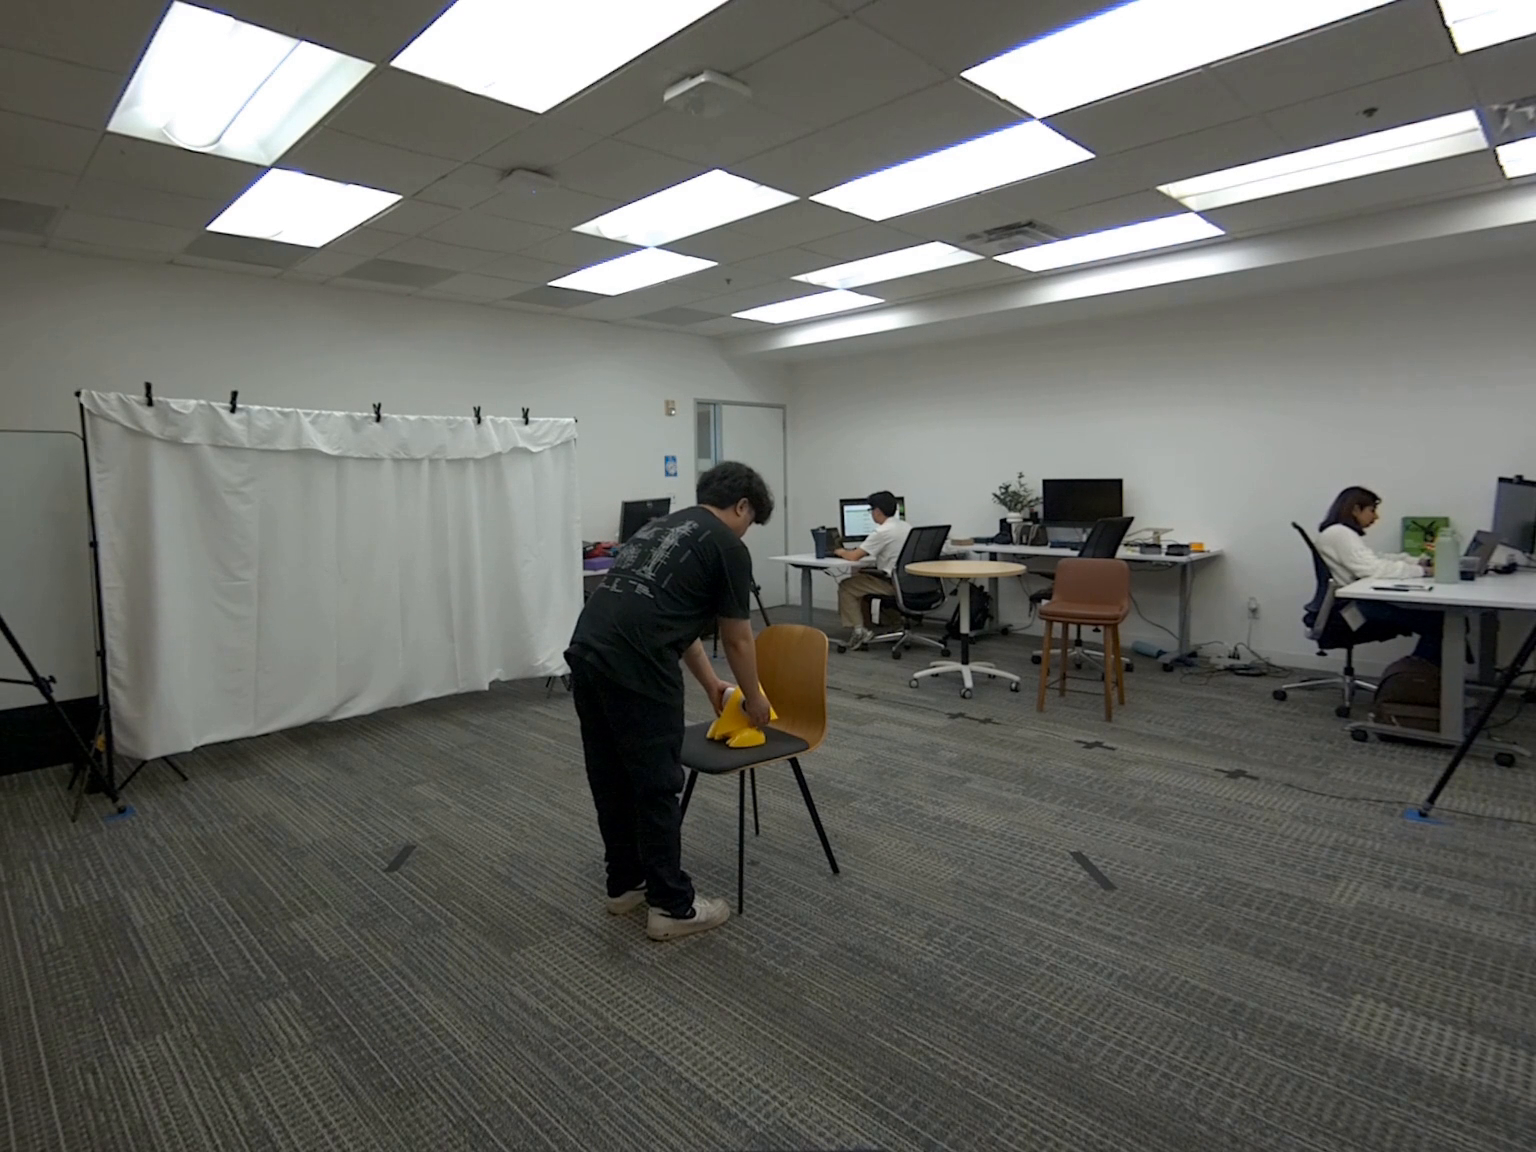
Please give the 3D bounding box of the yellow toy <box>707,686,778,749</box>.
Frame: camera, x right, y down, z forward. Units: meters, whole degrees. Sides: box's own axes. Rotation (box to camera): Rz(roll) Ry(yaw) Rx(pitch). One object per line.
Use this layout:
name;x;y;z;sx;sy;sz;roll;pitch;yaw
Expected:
yellow toy;-0.099;0.447;2.998;0.188;0.230;0.211;-2;6;-40
